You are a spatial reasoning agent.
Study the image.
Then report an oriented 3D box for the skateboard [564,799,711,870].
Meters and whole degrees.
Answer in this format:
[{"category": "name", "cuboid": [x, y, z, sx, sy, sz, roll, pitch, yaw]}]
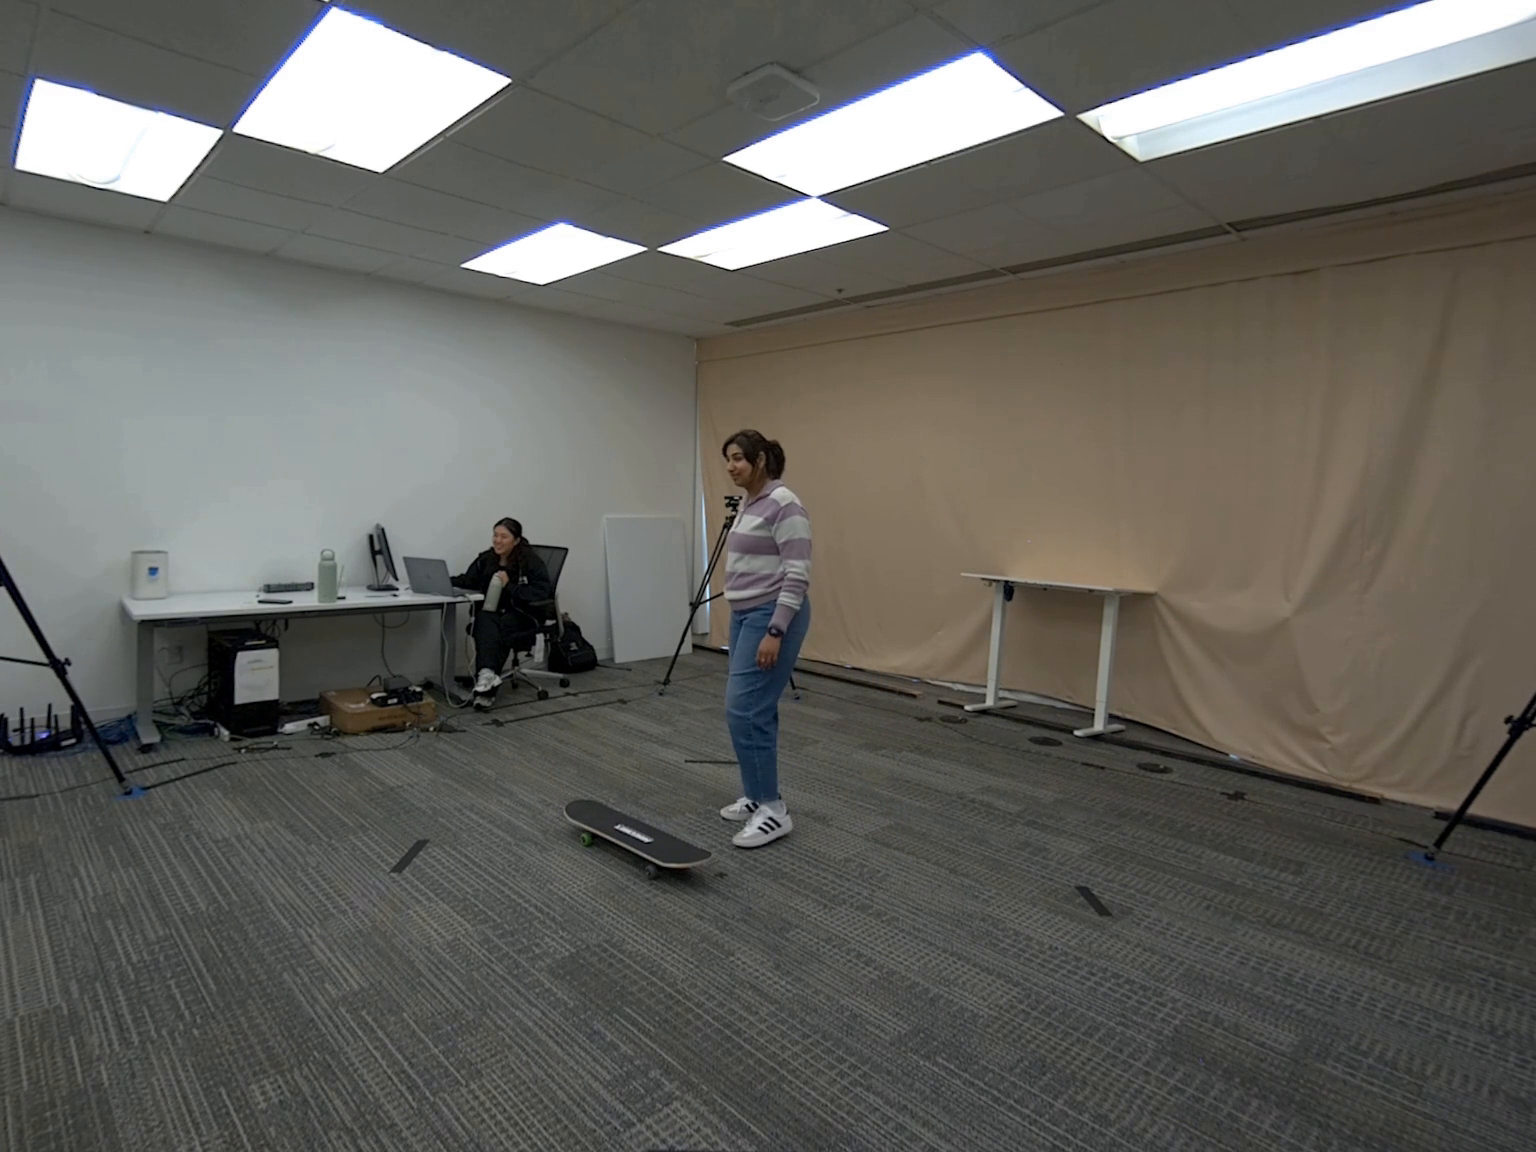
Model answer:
[{"category": "skateboard", "cuboid": [-0.530, 1.028, 3.255, 0.806, 0.110, 0.189, 6, 6, 43]}]
